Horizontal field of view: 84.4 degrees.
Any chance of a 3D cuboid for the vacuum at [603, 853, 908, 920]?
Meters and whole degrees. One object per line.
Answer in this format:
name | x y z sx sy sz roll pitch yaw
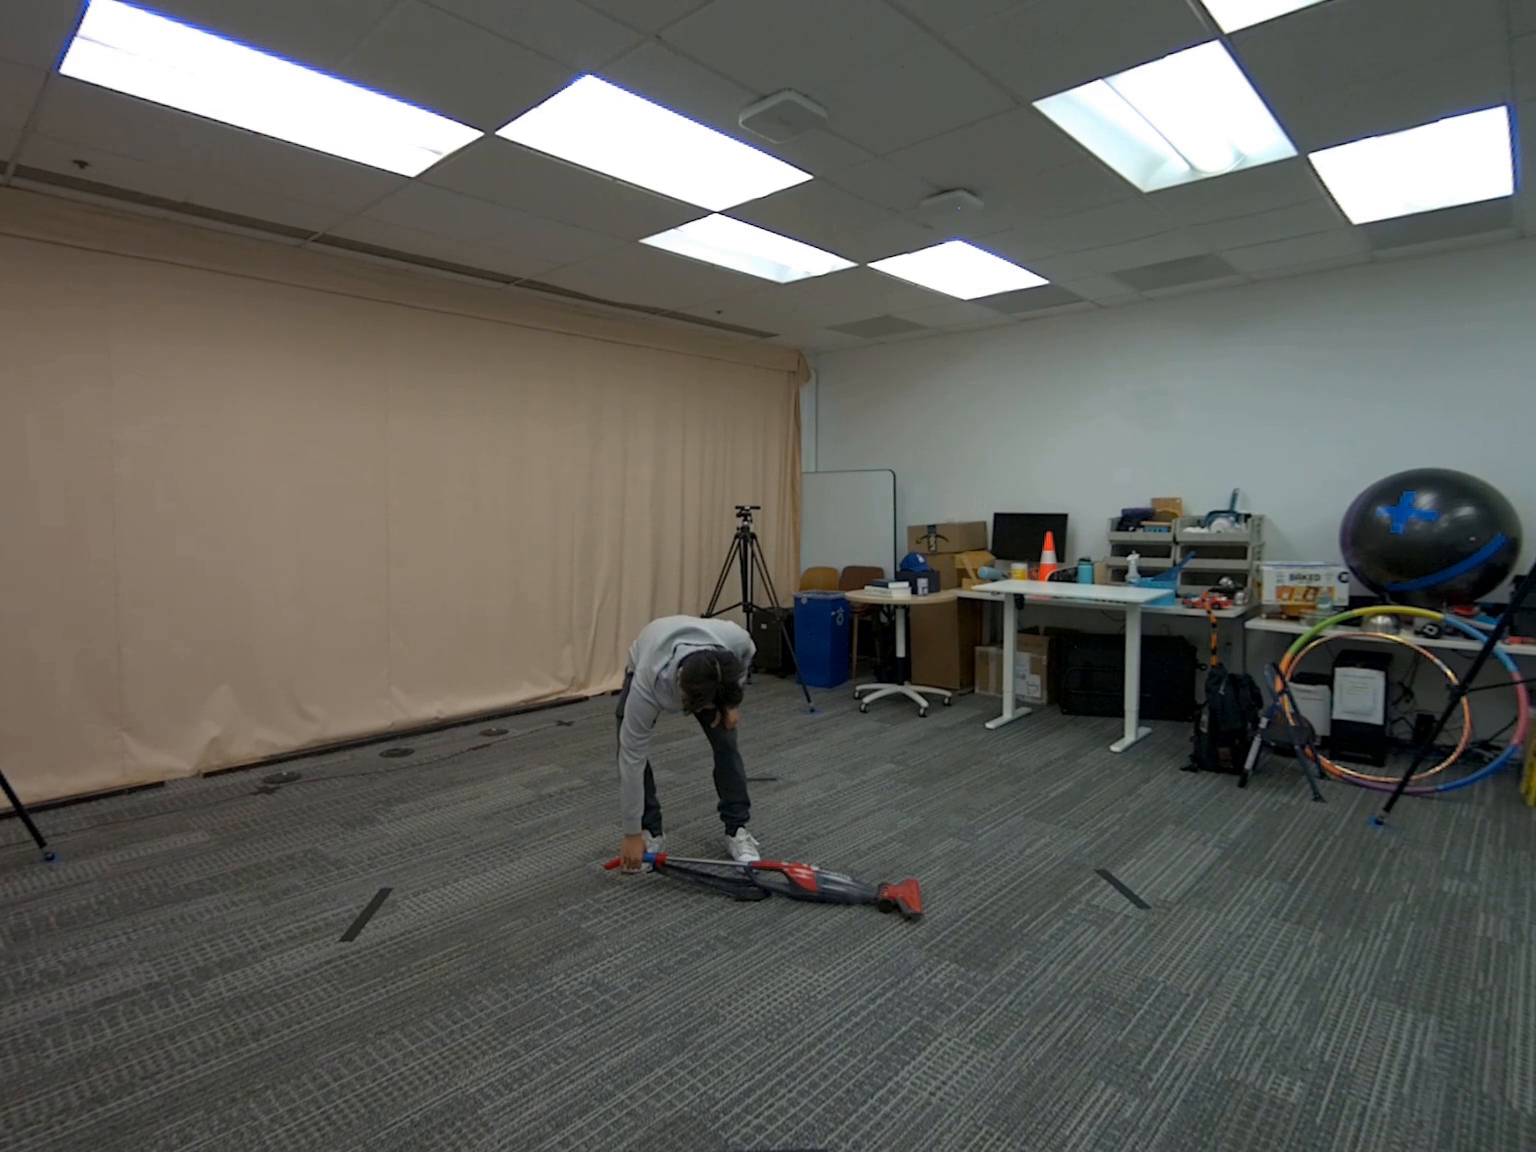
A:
vacuum | -0.077 1.077 3.014 1.060 0.143 0.252 3 12 9
